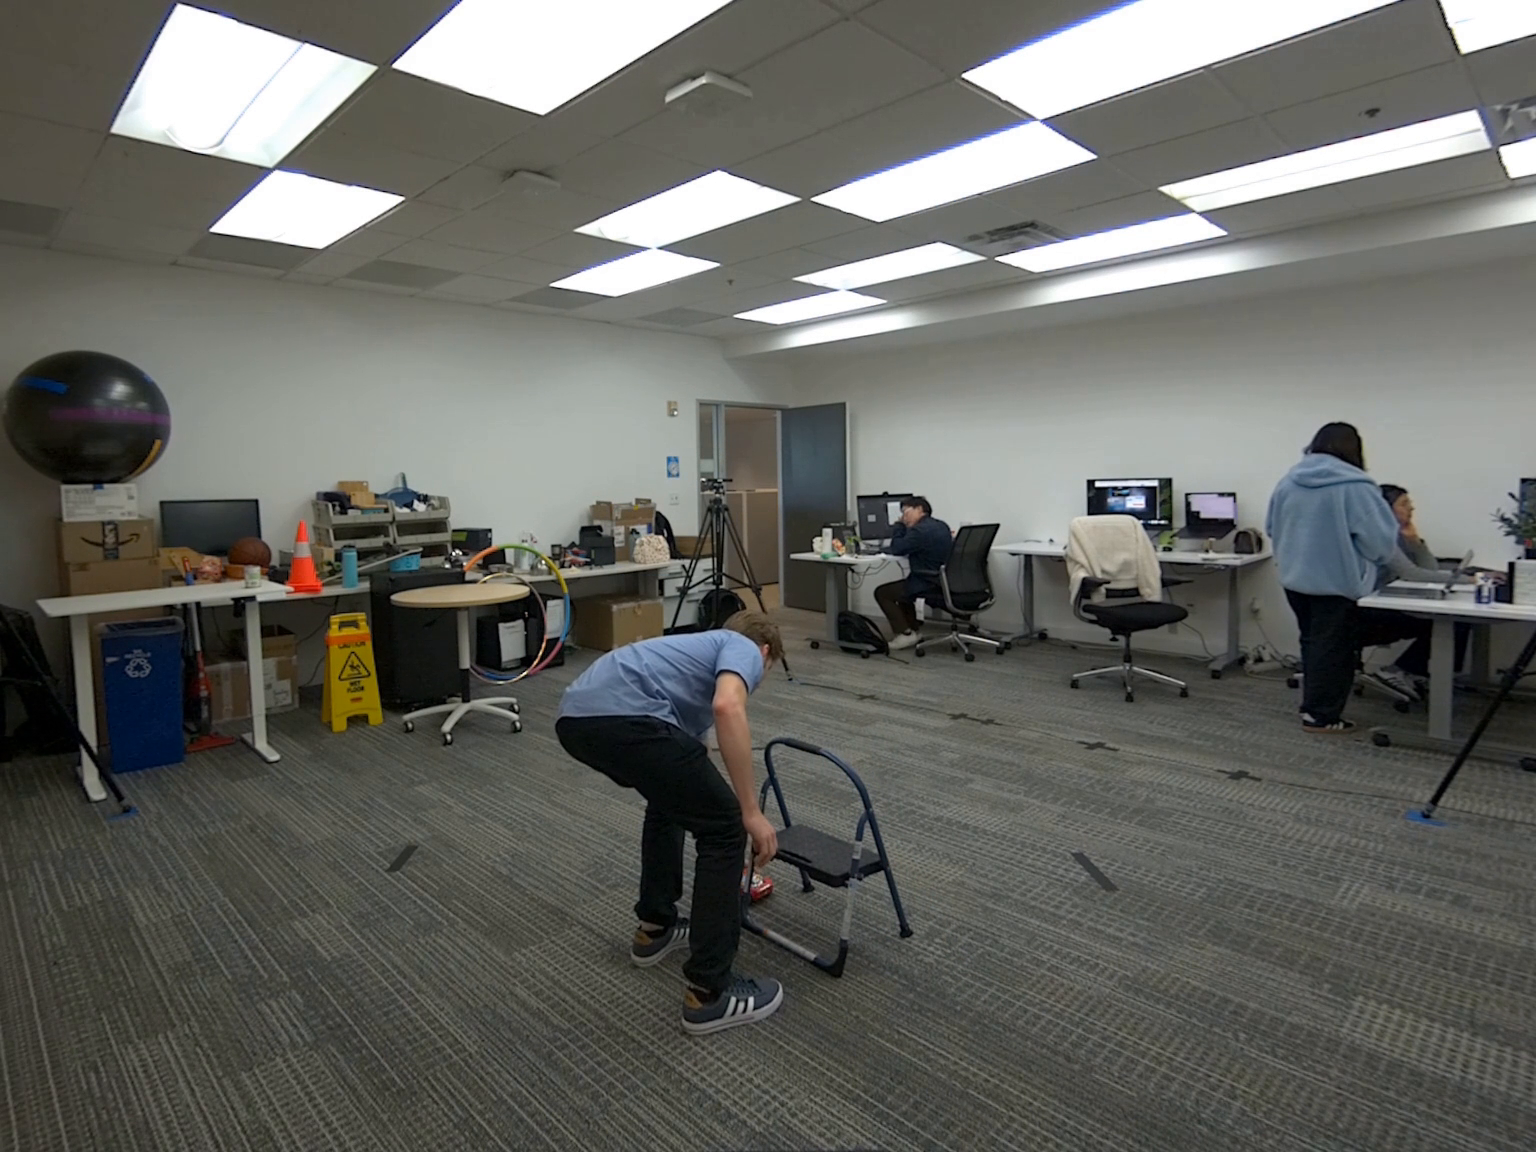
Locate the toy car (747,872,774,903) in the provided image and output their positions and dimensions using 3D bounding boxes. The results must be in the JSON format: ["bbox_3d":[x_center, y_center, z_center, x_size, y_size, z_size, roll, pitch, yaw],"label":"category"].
[{"bbox_3d":[-0.103,1.036,2.911,0.127,0.082,0.264,-7,19,-45],"label":"toy car"}]
